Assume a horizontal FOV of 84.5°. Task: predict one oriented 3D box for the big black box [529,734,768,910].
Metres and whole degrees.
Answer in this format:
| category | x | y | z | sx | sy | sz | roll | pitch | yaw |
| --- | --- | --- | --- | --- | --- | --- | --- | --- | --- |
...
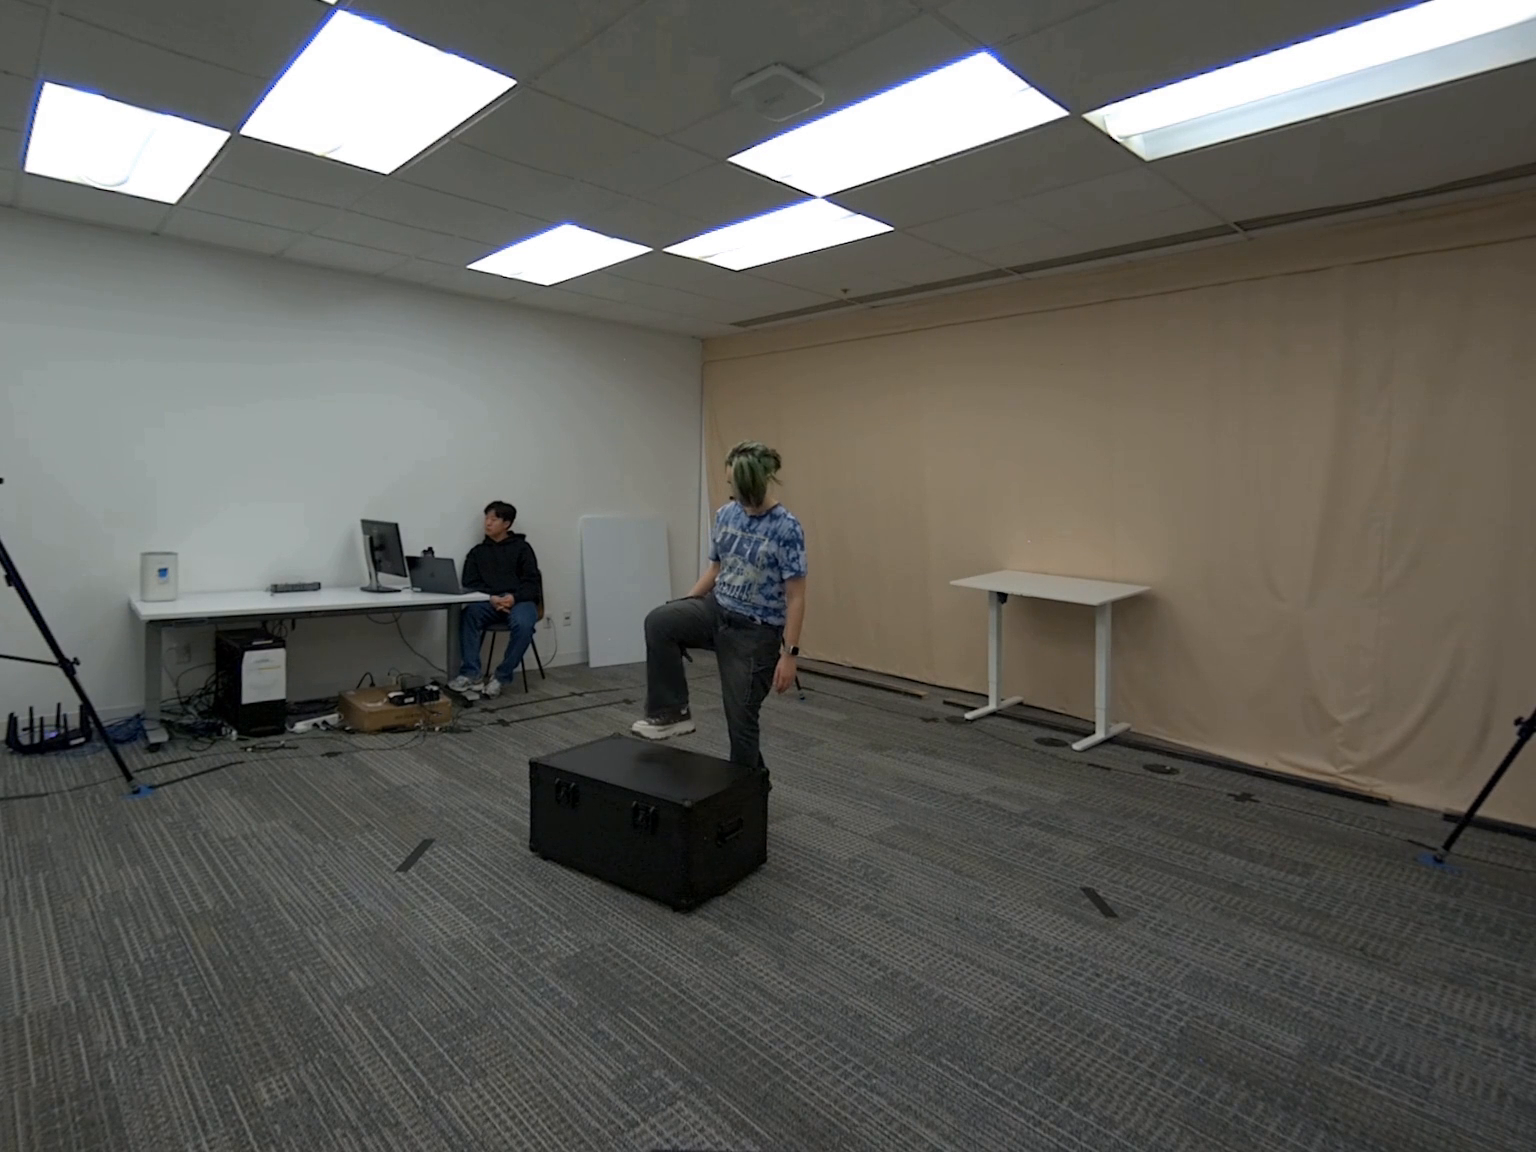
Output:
| category | x | y | z | sx | sy | sz | roll | pitch | yaw |
| --- | --- | --- | --- | --- | --- | --- | --- | --- | --- |
| big black box | -0.490 | 0.895 | 3.203 | 0.882 | 0.395 | 0.510 | 5 | 6 | 34 |
